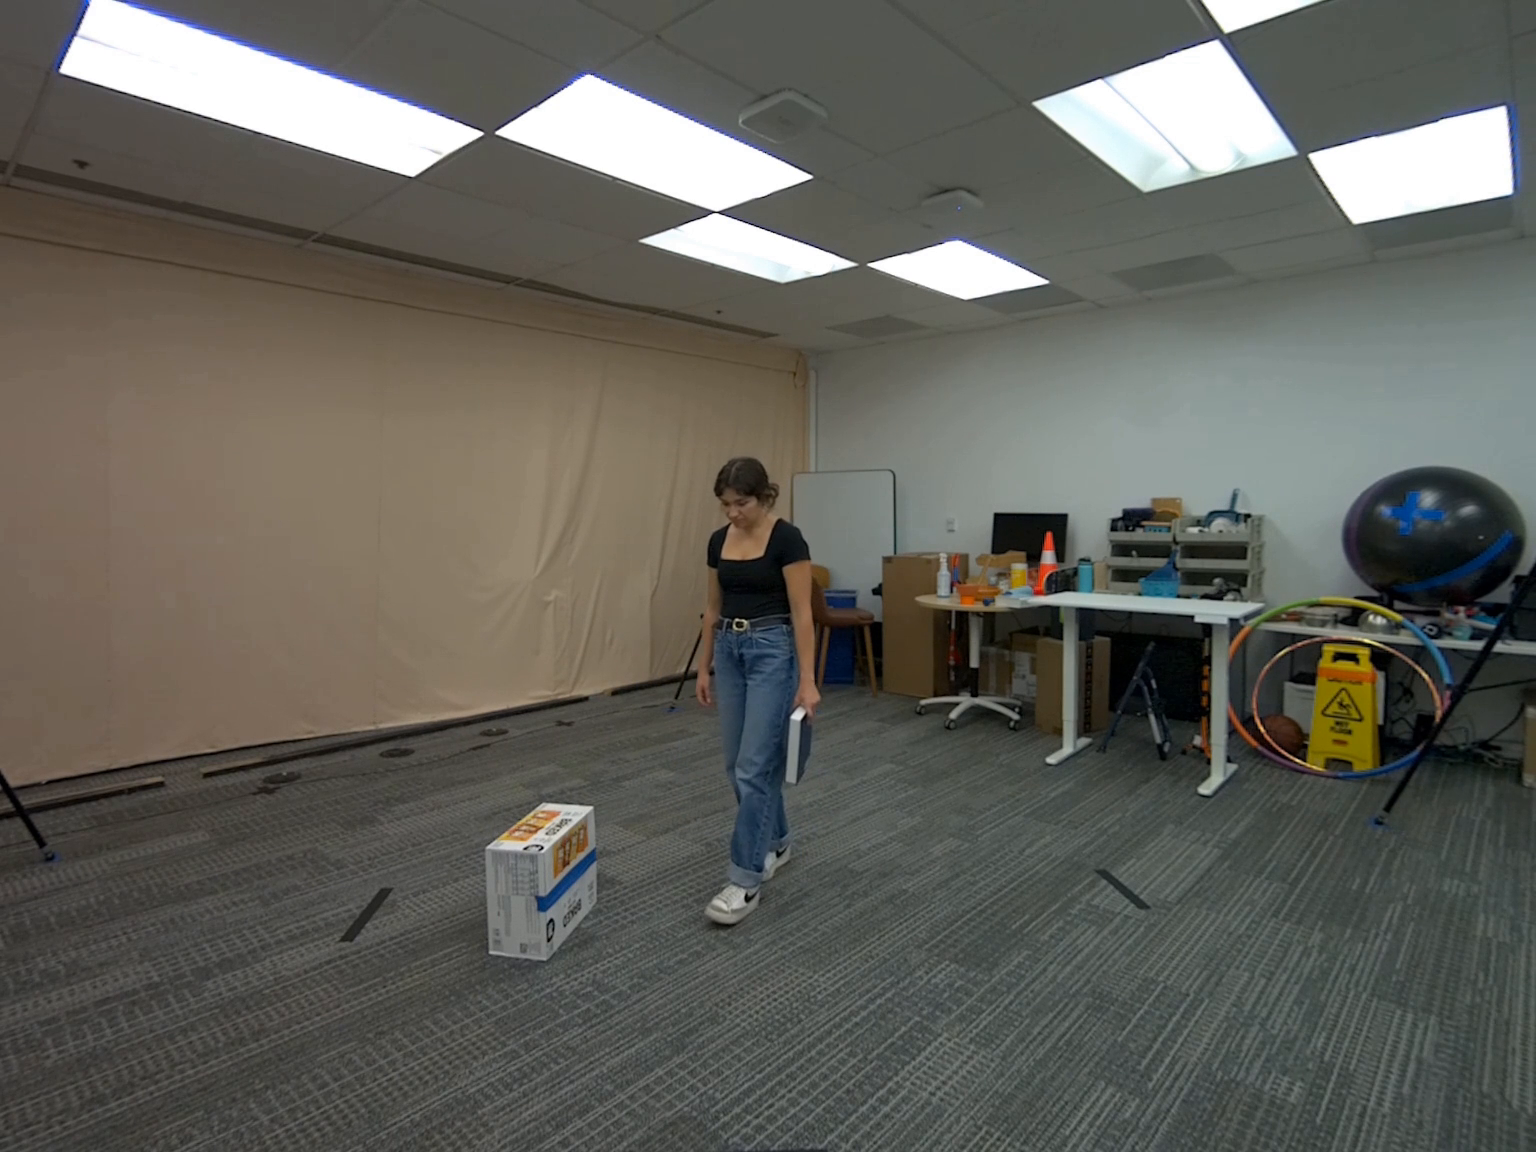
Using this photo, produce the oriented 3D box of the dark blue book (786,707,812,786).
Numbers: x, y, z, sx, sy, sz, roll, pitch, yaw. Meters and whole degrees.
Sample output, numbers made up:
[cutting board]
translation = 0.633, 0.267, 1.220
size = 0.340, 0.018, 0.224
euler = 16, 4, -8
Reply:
[dark blue book]
translation = 0.112, 0.566, 2.880
size = 0.046, 0.243, 0.162
euler = 6, 12, 14
